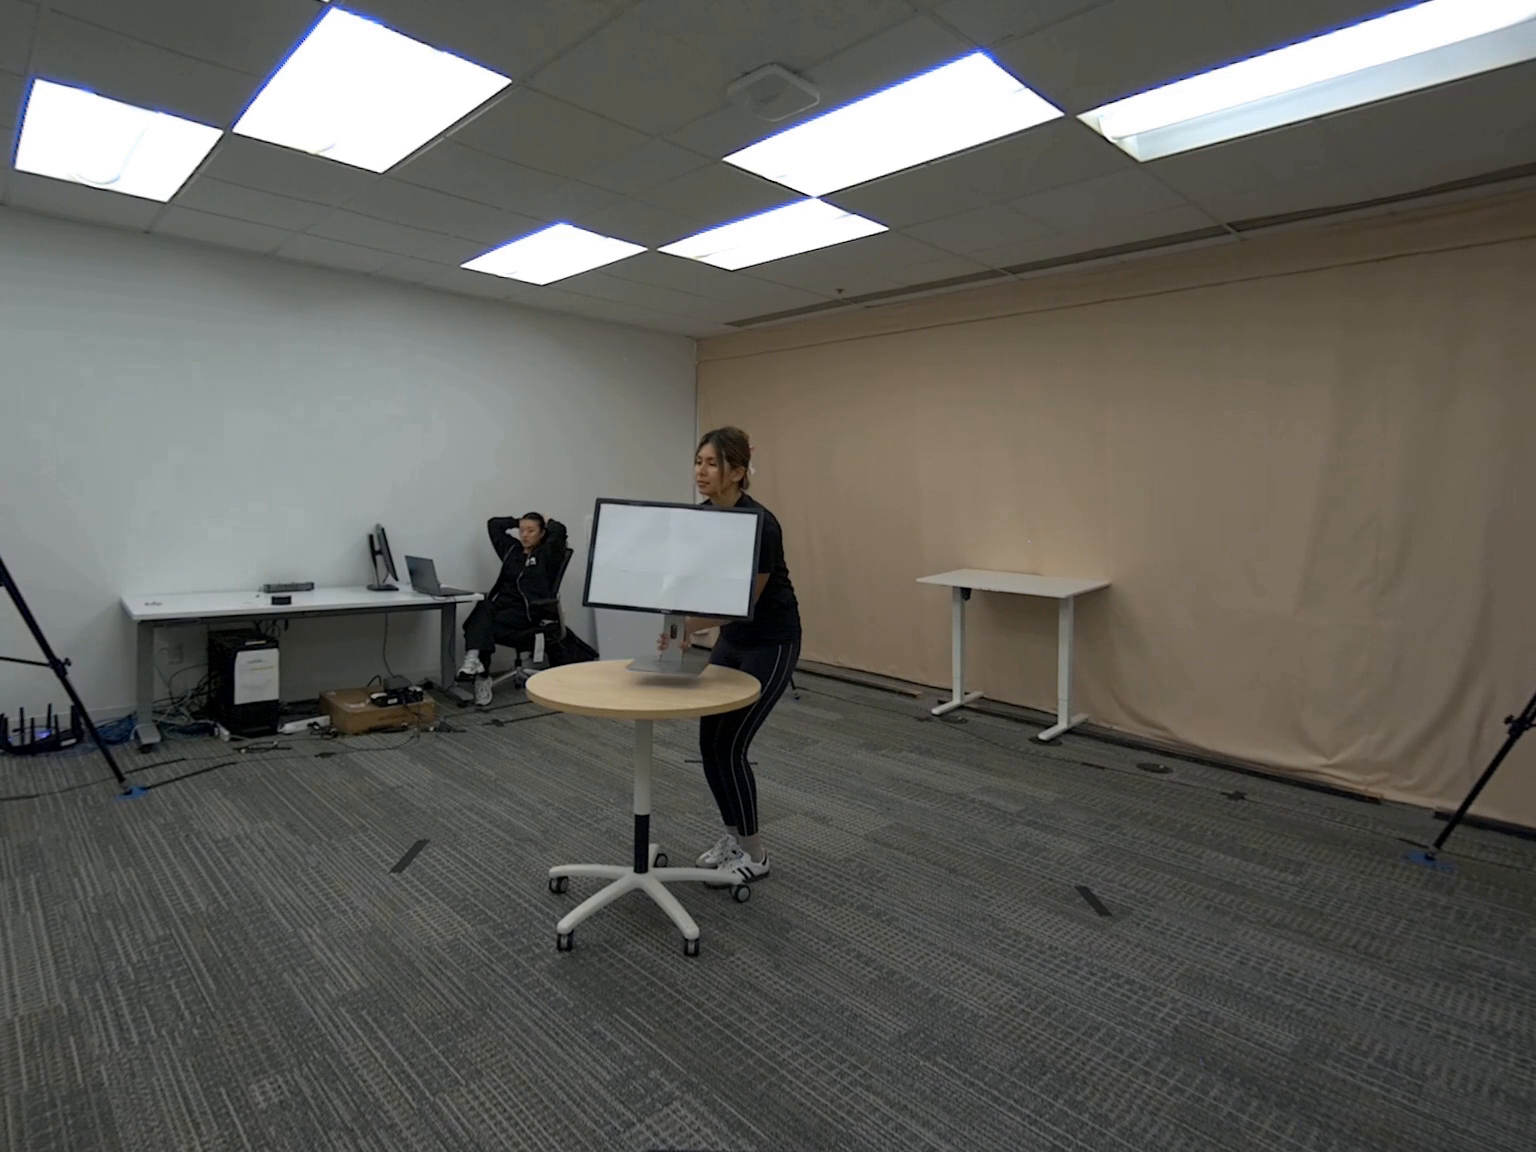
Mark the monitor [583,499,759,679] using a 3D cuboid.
[{"bbox_3d":[-0.318,0.037,2.755,0.542,0.521,0.186,5,4,7],"label":"monitor"}]
